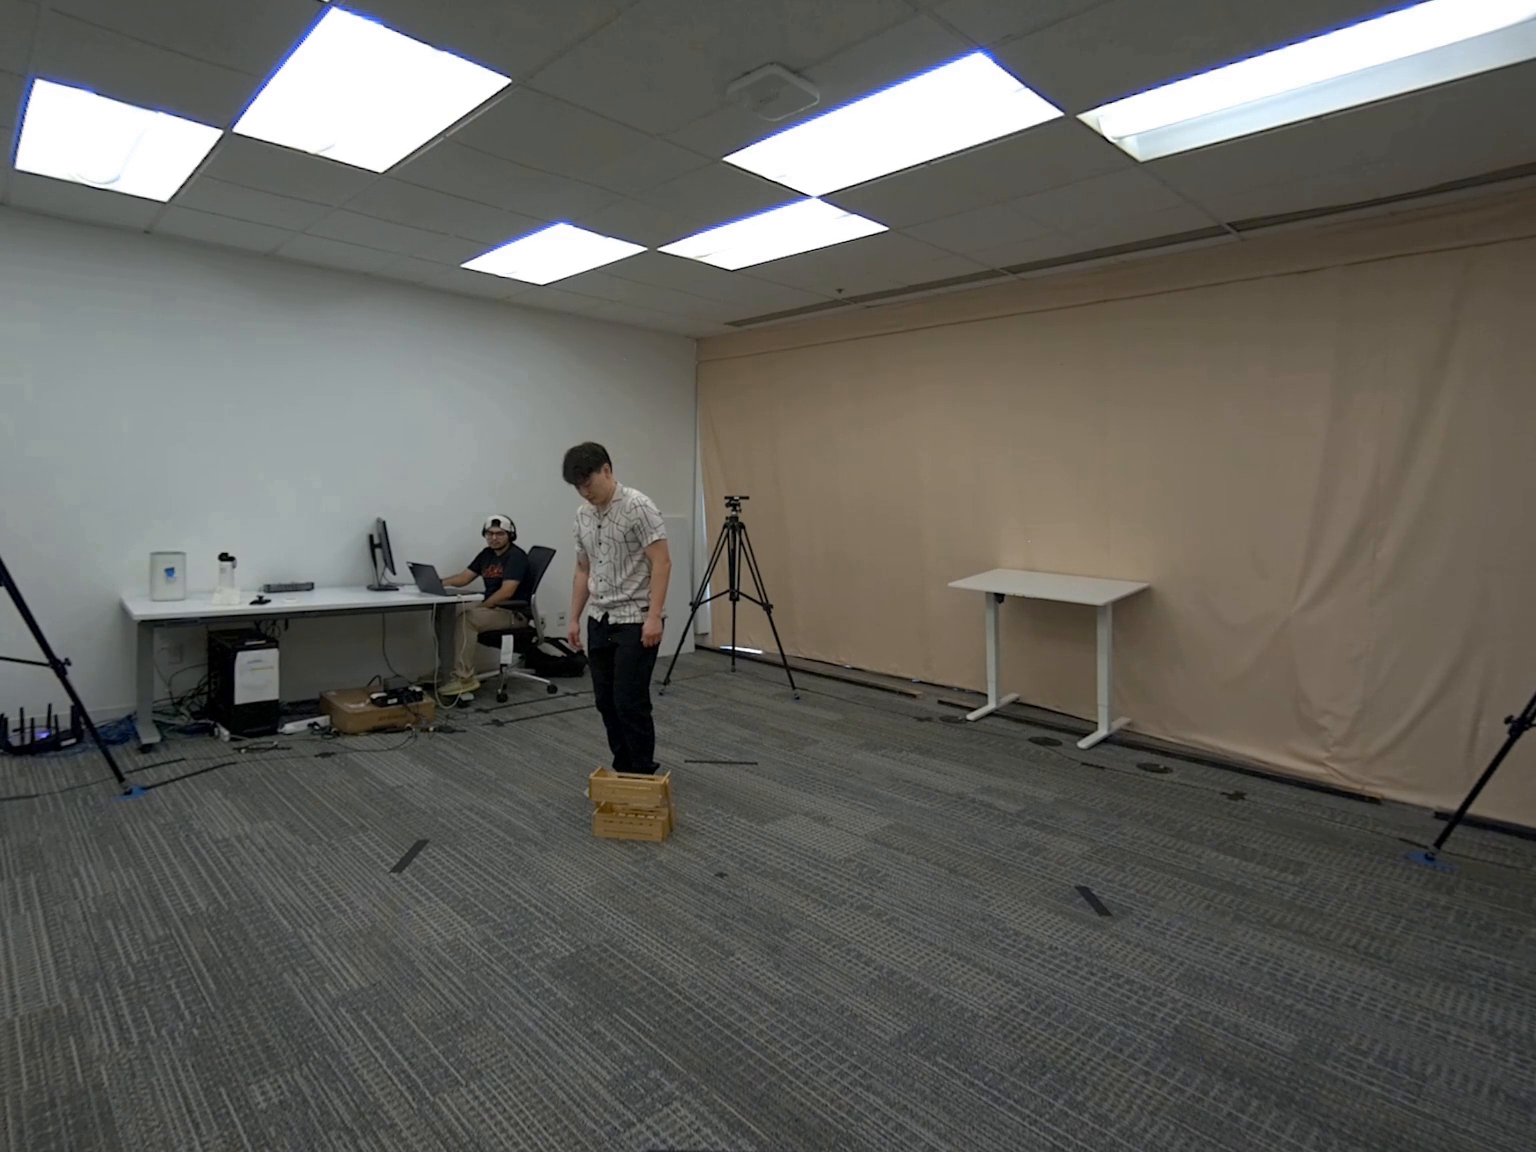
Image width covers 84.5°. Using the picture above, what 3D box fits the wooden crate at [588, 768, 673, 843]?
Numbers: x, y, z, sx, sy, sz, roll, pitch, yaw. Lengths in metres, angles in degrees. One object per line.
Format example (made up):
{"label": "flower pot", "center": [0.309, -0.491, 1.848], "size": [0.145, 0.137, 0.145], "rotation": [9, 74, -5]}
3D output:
{"label": "wooden crate", "center": [-0.564, 0.926, 3.503], "size": [0.326, 0.272, 0.301], "rotation": [2, 4, 7]}
